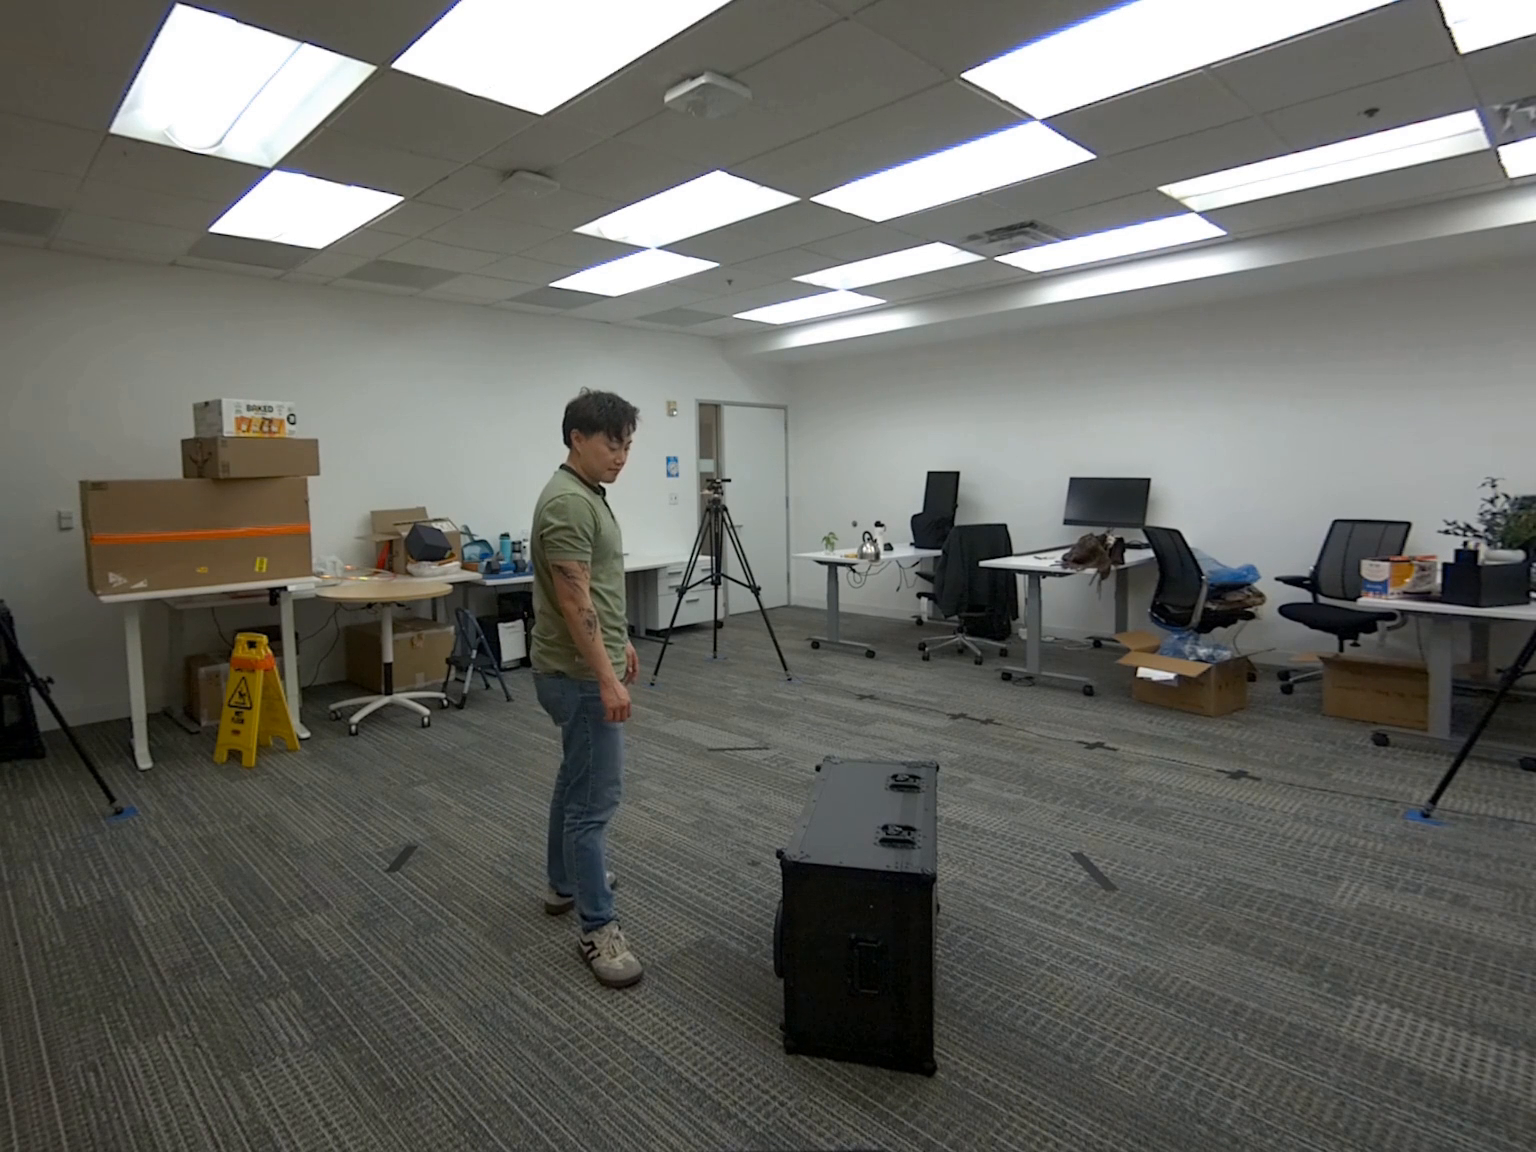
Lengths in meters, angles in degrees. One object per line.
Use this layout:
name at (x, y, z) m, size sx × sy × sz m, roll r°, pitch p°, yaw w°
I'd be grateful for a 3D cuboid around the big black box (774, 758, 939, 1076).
big black box at (0.273, 0.871, 2.371) m, size 0.401 × 0.519 × 0.854 m, roll -1°, pitch 5°, yaw 11°
